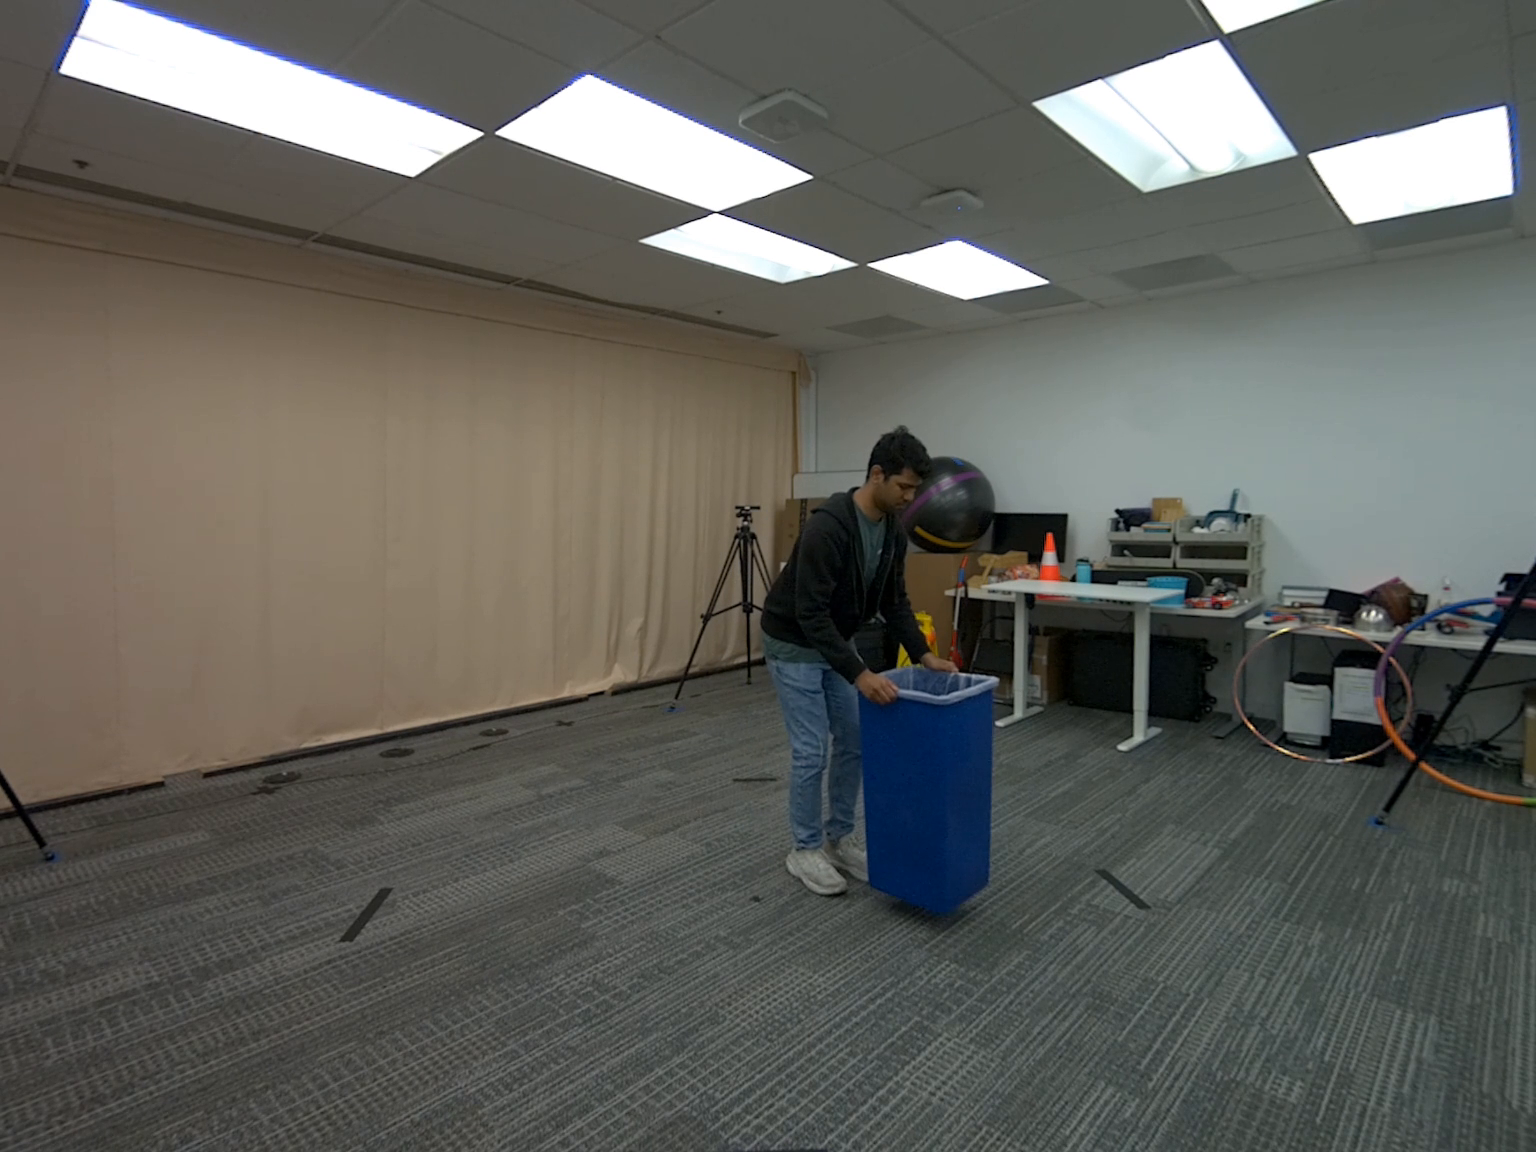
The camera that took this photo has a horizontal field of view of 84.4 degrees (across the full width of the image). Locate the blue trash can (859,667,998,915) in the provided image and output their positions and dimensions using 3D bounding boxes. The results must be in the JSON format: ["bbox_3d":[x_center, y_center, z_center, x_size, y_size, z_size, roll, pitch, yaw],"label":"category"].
[{"bbox_3d":[0.550,0.702,2.862,0.390,0.712,0.363,2,5,43],"label":"blue trash can"}]
